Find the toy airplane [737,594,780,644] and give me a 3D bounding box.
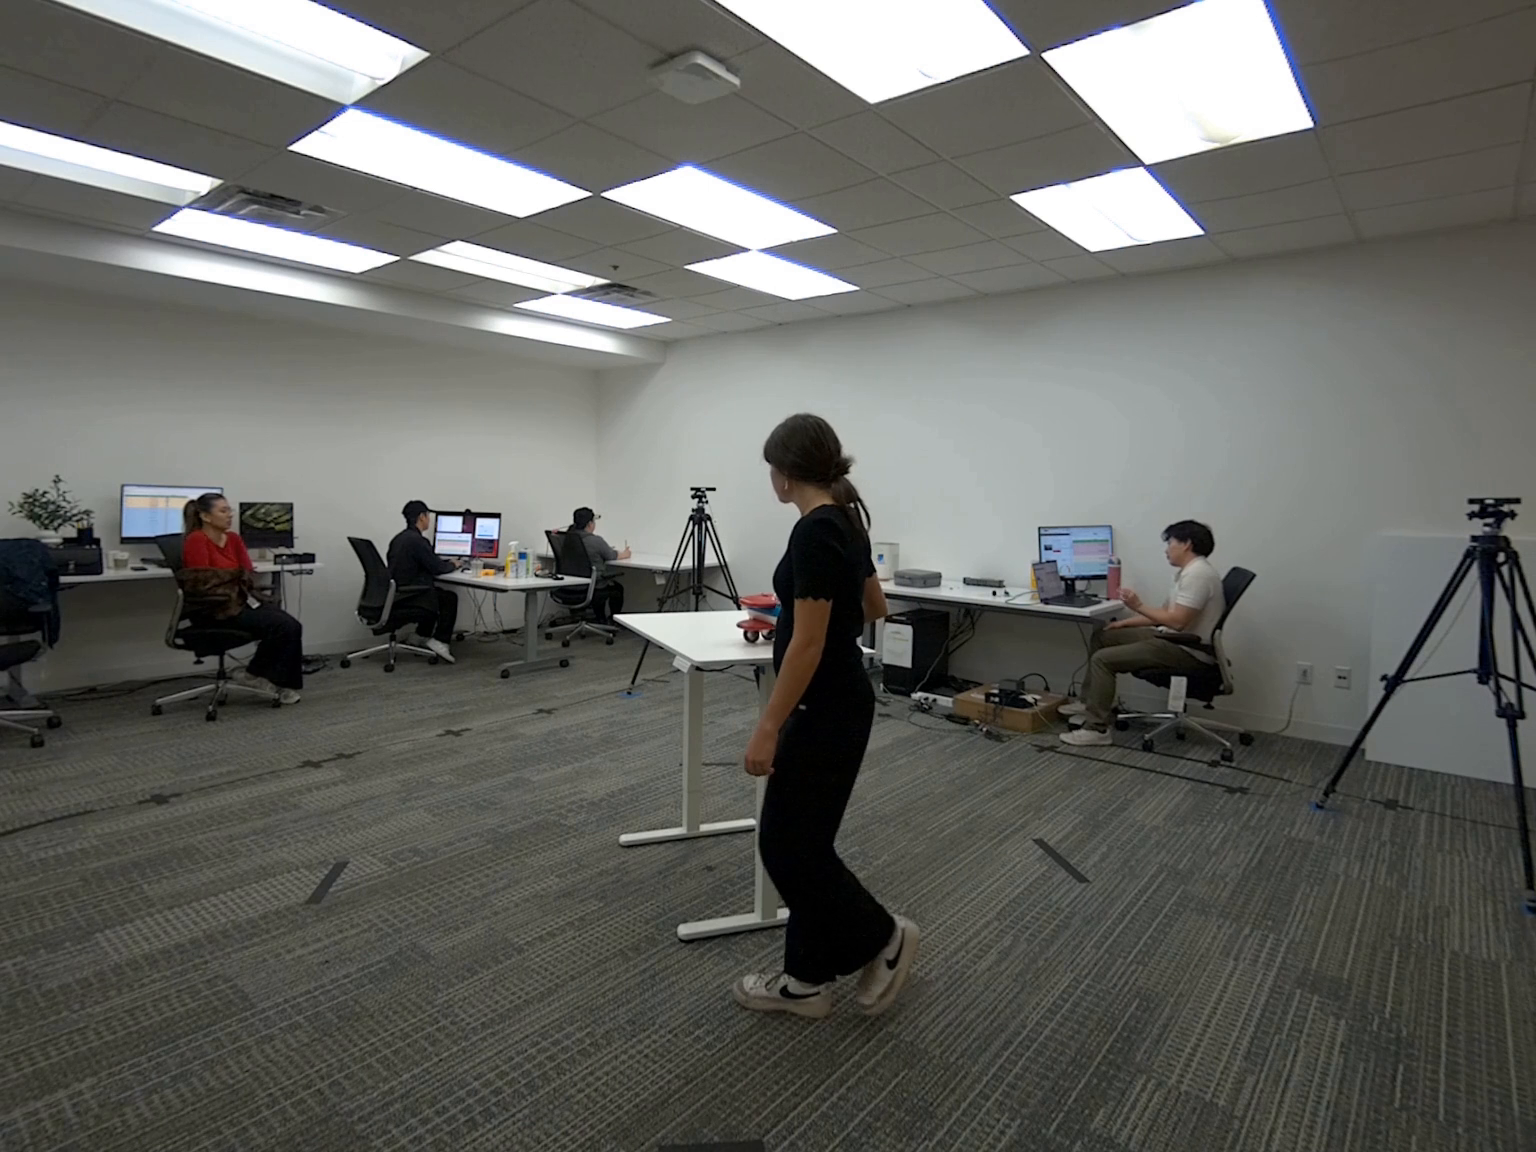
[{"bbox_3d":[0.037,0.134,2.775,0.263,0.157,0.247,-4,0,16],"label":"toy airplane"}]
